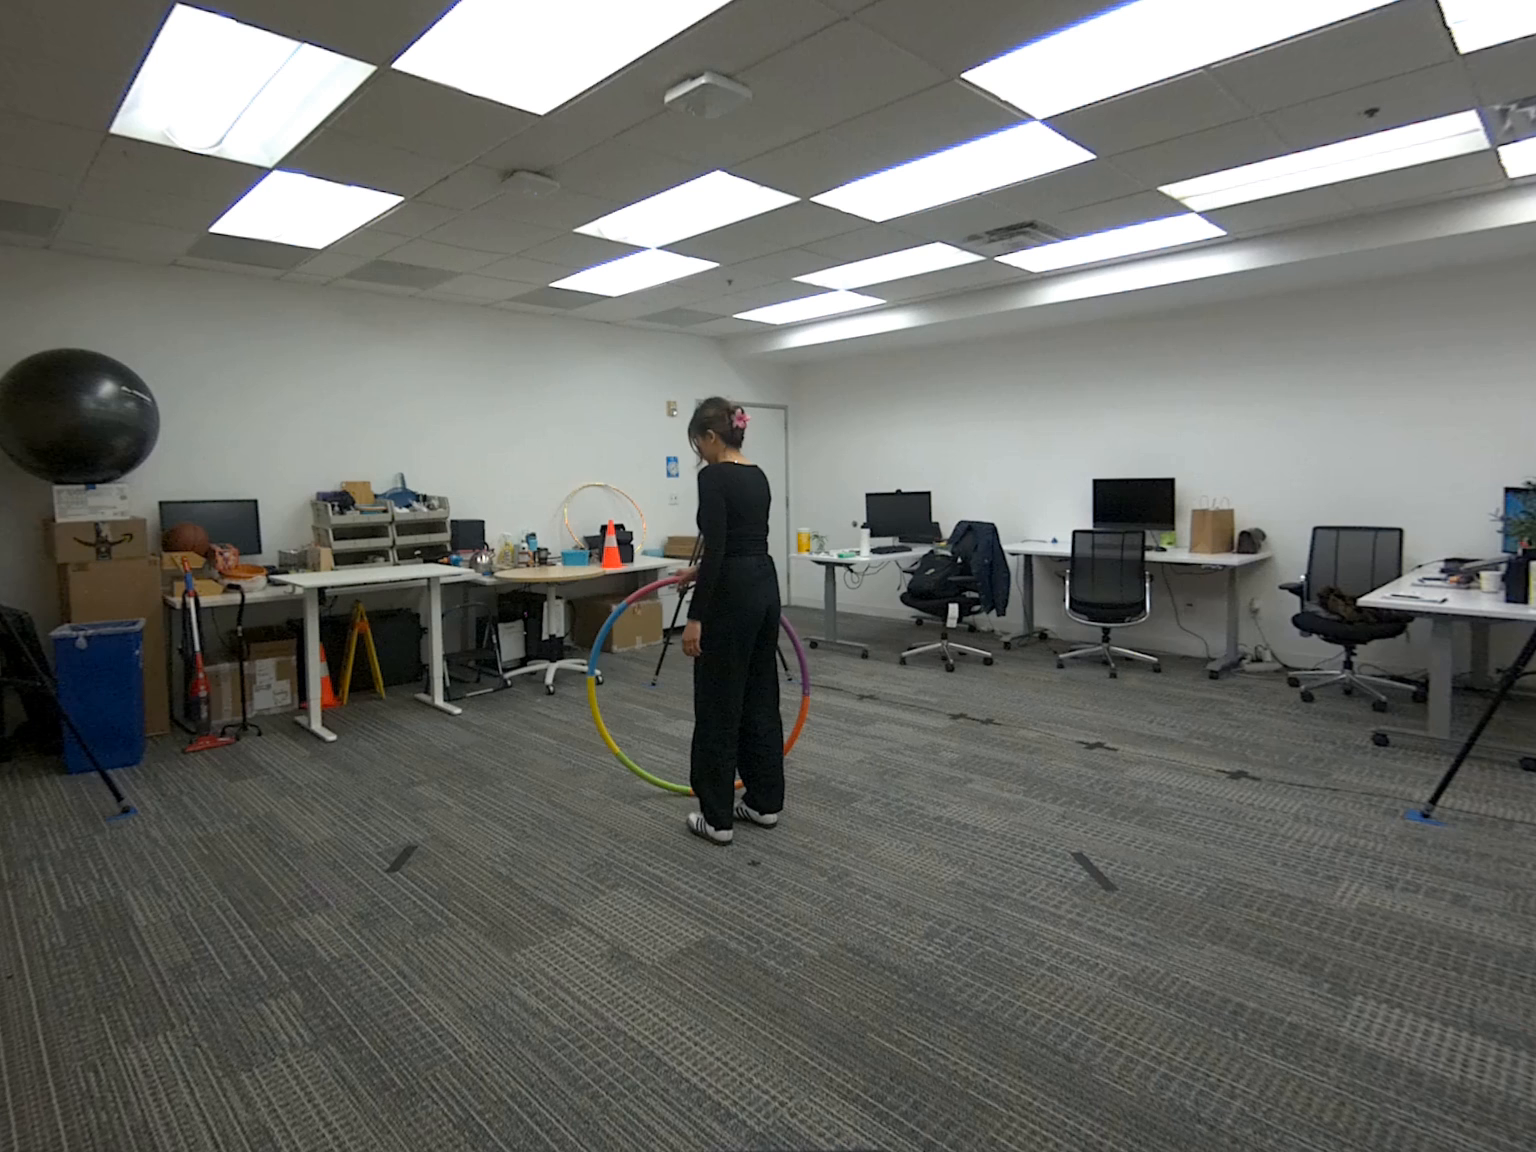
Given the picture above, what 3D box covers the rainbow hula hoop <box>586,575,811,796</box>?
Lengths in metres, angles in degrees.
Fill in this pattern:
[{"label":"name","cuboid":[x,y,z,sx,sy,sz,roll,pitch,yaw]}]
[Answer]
[{"label":"rainbow hula hoop","cuboid":[-0.307,0.487,3.769,0.984,0.976,0.035,0,2,5]}]
